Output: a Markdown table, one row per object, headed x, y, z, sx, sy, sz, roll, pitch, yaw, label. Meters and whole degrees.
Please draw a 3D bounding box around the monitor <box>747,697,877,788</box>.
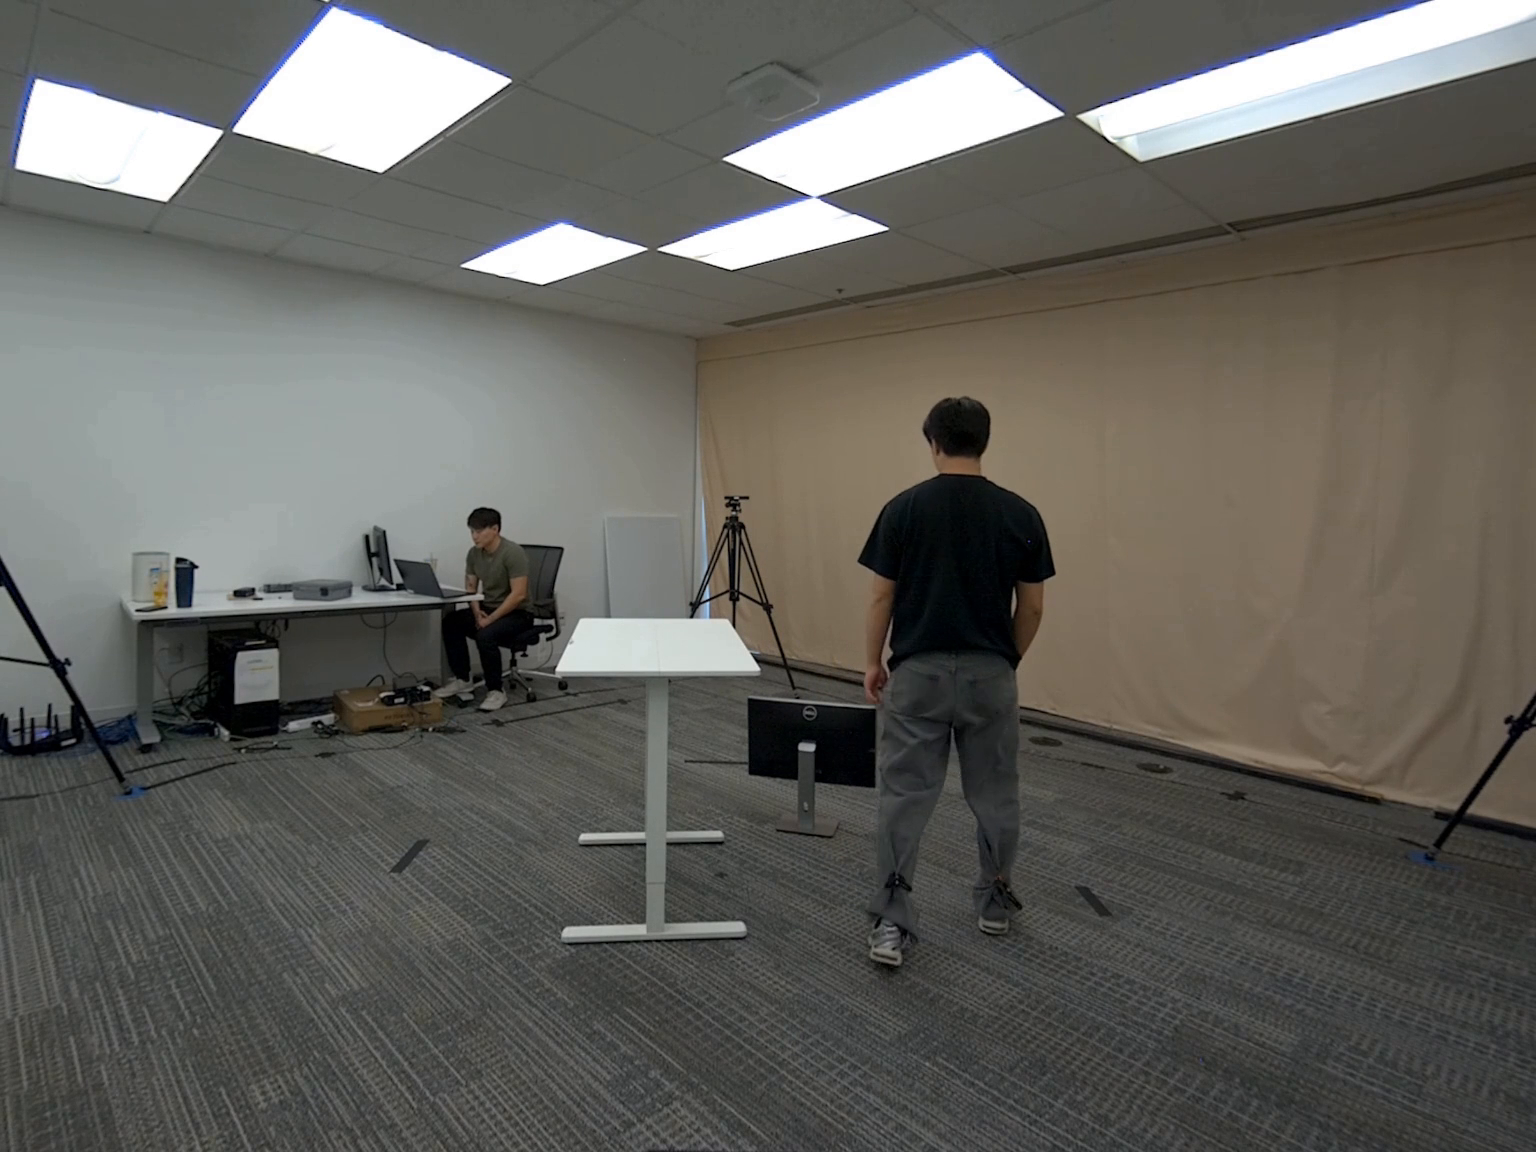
| x | y | z | sx | sy | sz | roll | pitch | yaw | label |
| --- | --- | --- | --- | --- | --- | --- | --- | --- | --- |
| 0.166 | 0.811 | 3.592 | 0.569 | 0.566 | 0.219 | 2 | -1 | 17 | monitor |
